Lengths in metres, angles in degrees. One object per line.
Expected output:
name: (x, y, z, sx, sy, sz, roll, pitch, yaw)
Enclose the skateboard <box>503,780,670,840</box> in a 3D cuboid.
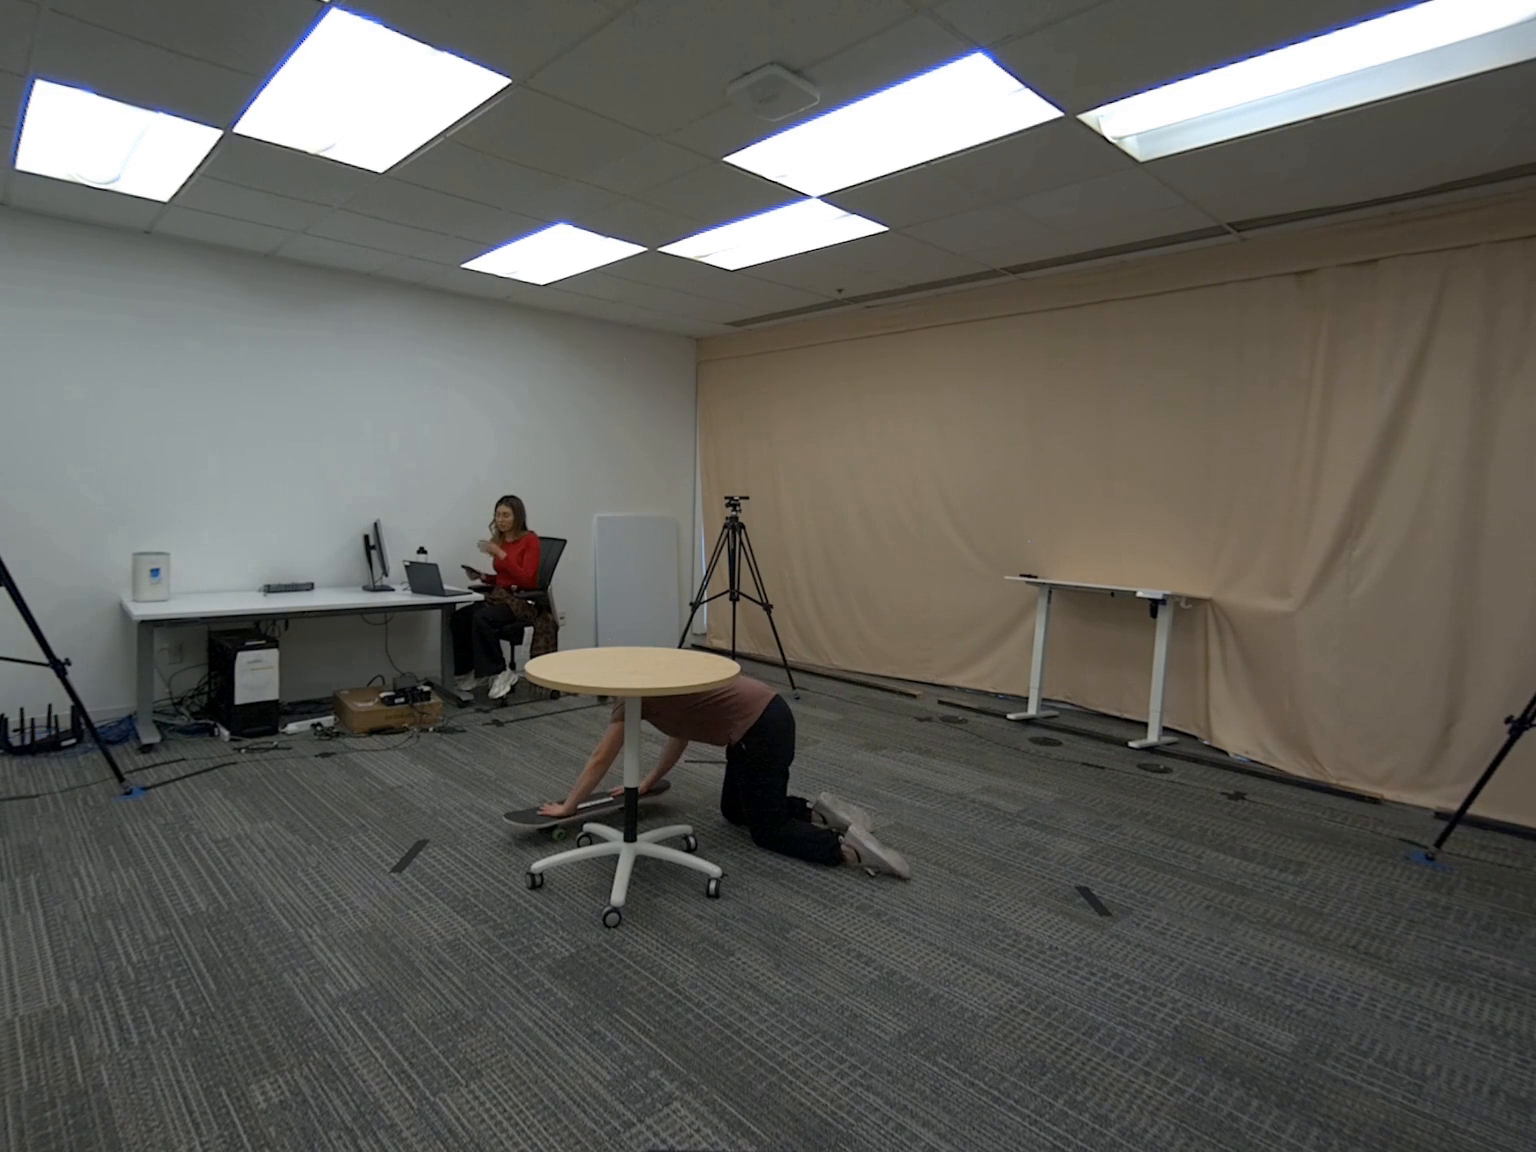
skateboard: (-0.733, 0.985, 3.574, 0.768, 0.110, 0.198, -3, 4, -40)
